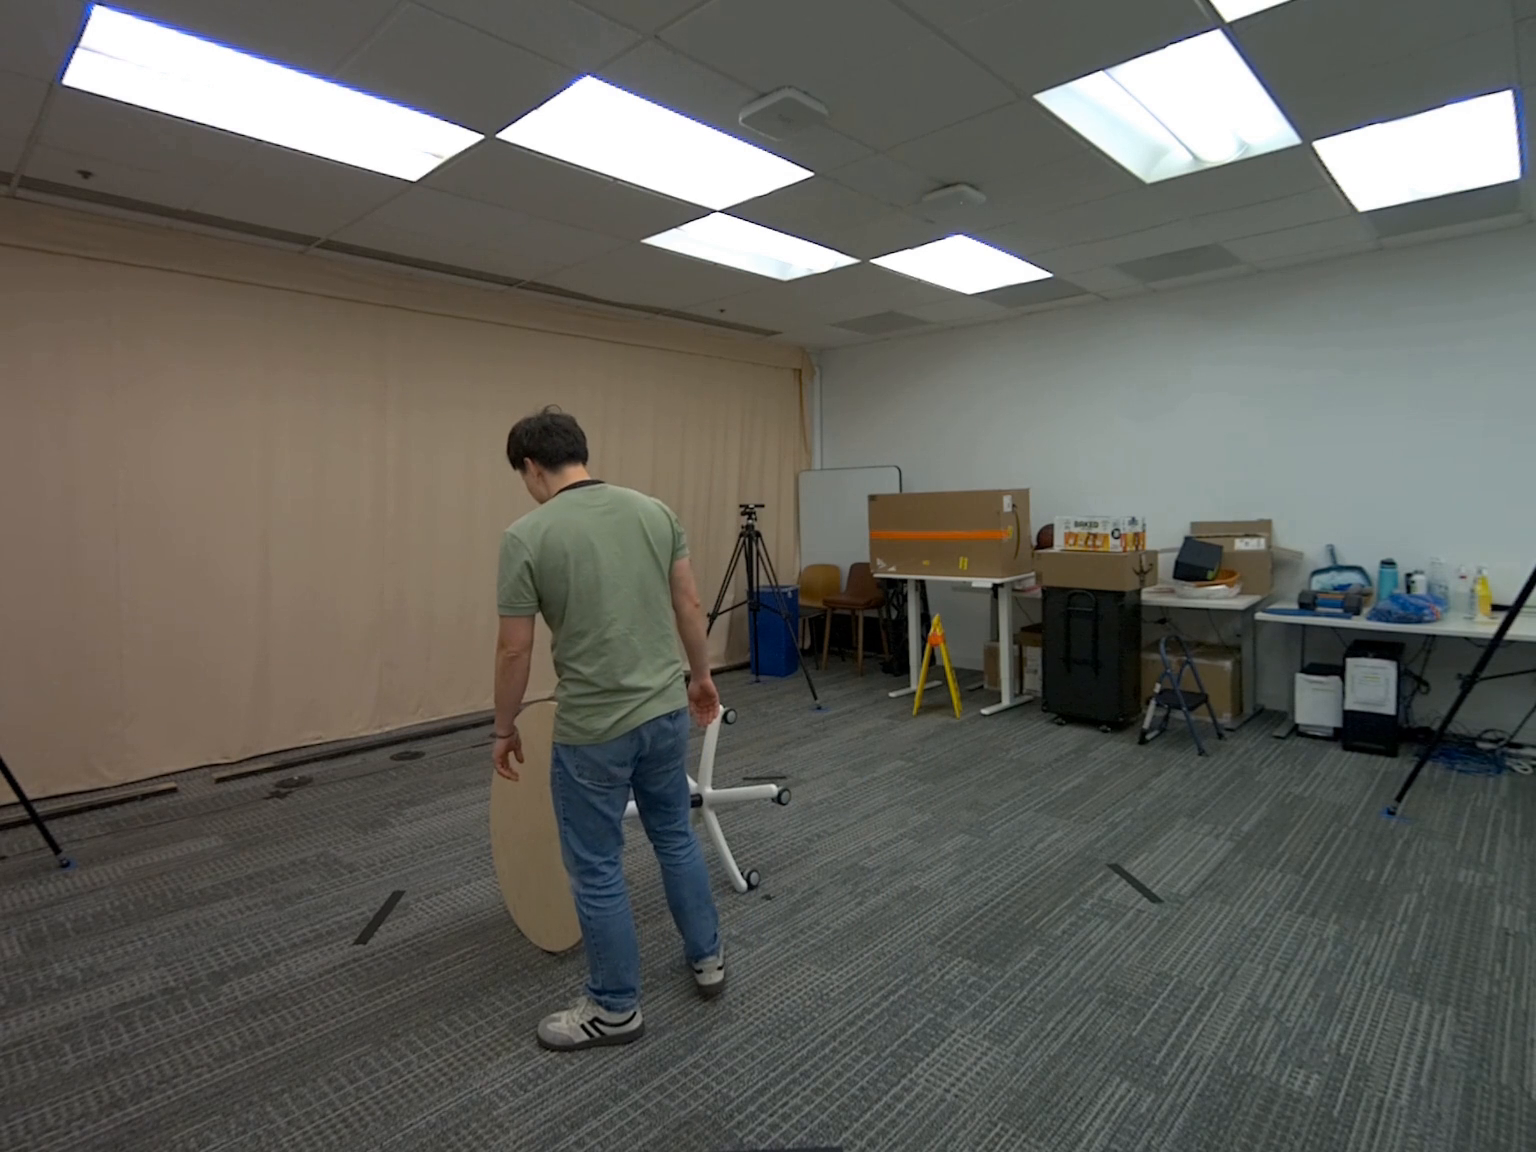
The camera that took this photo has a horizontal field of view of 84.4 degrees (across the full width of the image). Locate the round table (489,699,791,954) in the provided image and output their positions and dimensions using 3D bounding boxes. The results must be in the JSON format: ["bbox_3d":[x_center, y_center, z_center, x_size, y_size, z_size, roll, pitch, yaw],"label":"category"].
[{"bbox_3d":[-0.435,0.820,2.973,0.767,0.764,0.789,5,-1,-43],"label":"round table"}]
